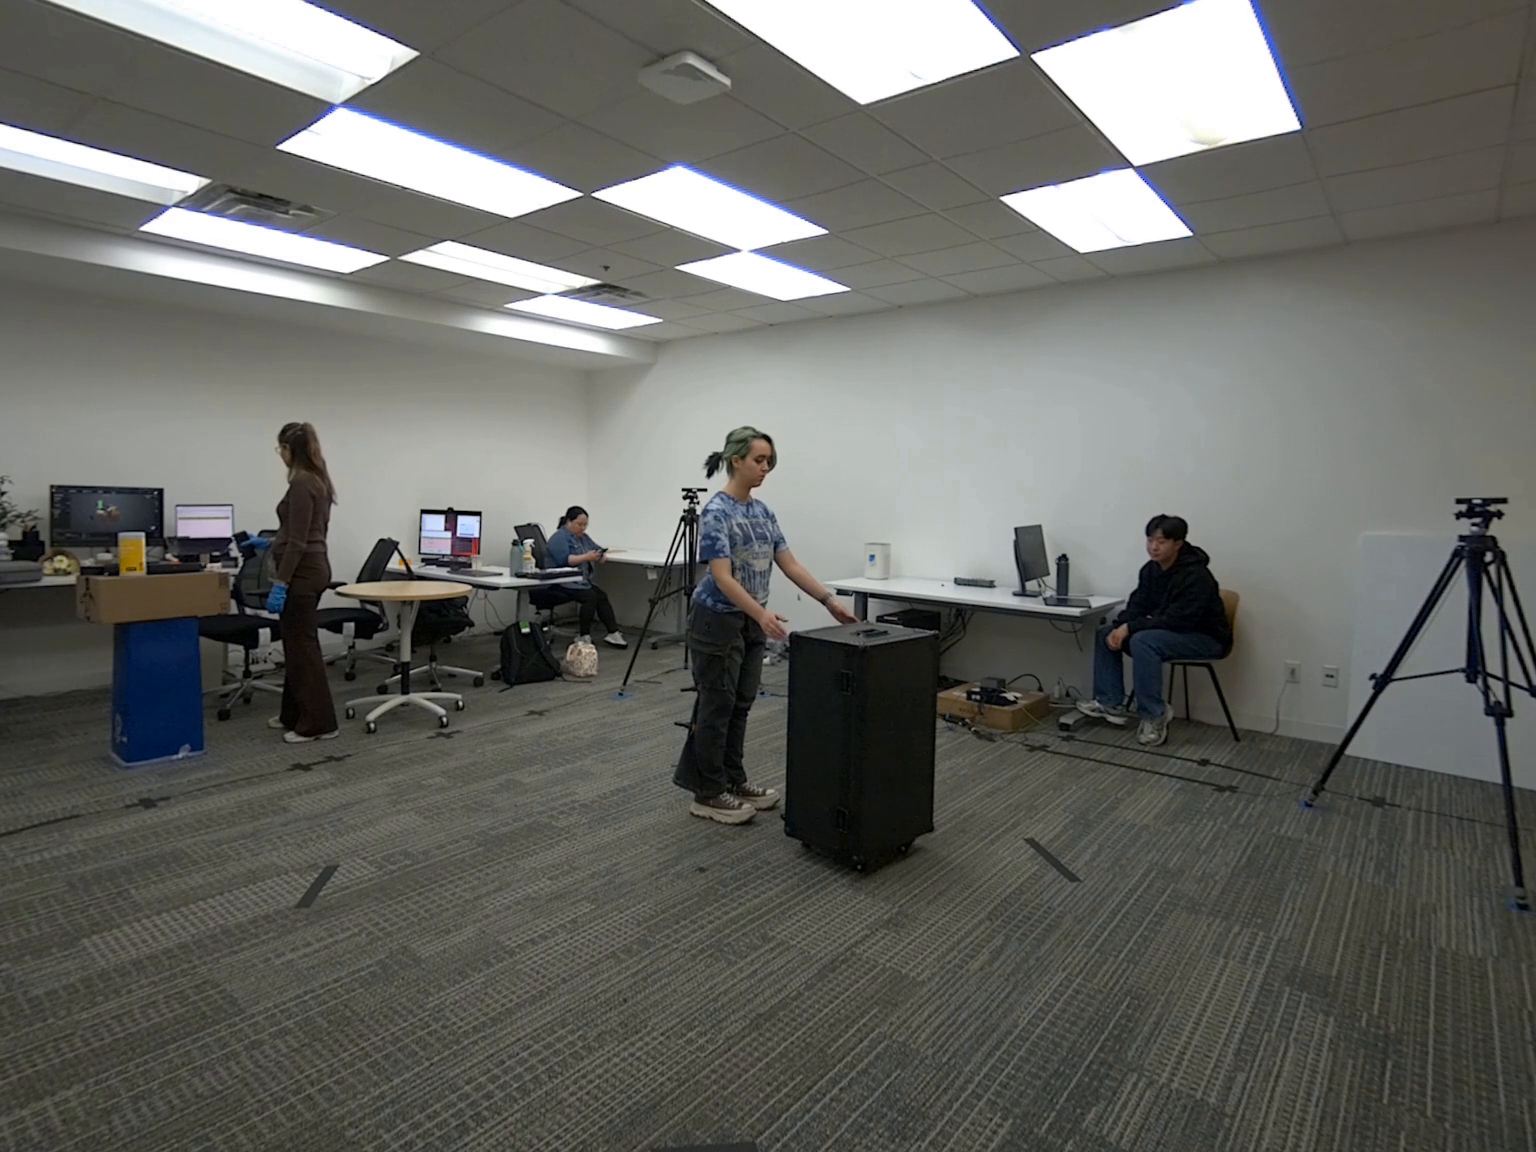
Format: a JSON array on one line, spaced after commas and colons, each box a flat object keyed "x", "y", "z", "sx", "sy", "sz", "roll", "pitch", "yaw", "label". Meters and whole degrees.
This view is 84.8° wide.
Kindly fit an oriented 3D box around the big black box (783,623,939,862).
[{"x": 0.342, "y": 0.637, "z": 3.286, "sx": 0.505, "sy": 0.859, "sz": 0.410, "roll": -2, "pitch": 4, "yaw": -44, "label": "big black box"}]
